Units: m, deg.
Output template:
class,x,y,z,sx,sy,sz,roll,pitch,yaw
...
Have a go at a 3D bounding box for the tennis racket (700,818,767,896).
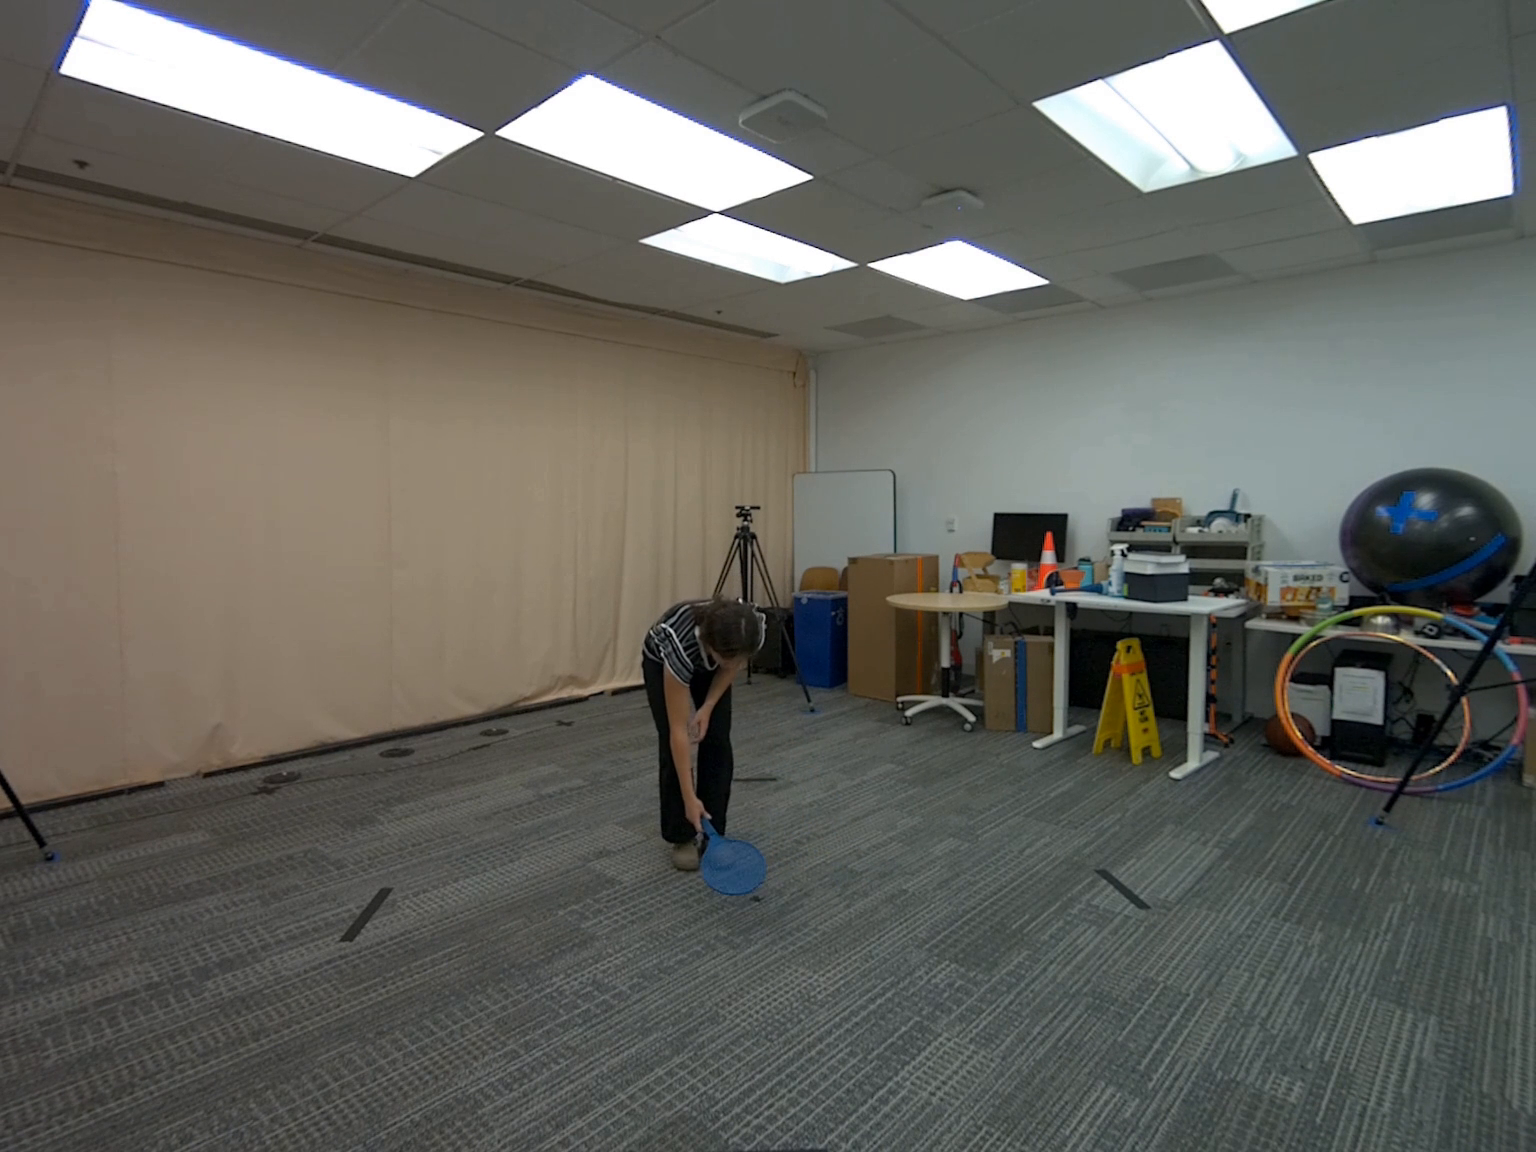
class,x,y,z,sx,sy,sz,roll,pitch,yaw
tennis racket,-0.136,0.954,2.893,0.211,0.031,0.446,-19,23,-18
